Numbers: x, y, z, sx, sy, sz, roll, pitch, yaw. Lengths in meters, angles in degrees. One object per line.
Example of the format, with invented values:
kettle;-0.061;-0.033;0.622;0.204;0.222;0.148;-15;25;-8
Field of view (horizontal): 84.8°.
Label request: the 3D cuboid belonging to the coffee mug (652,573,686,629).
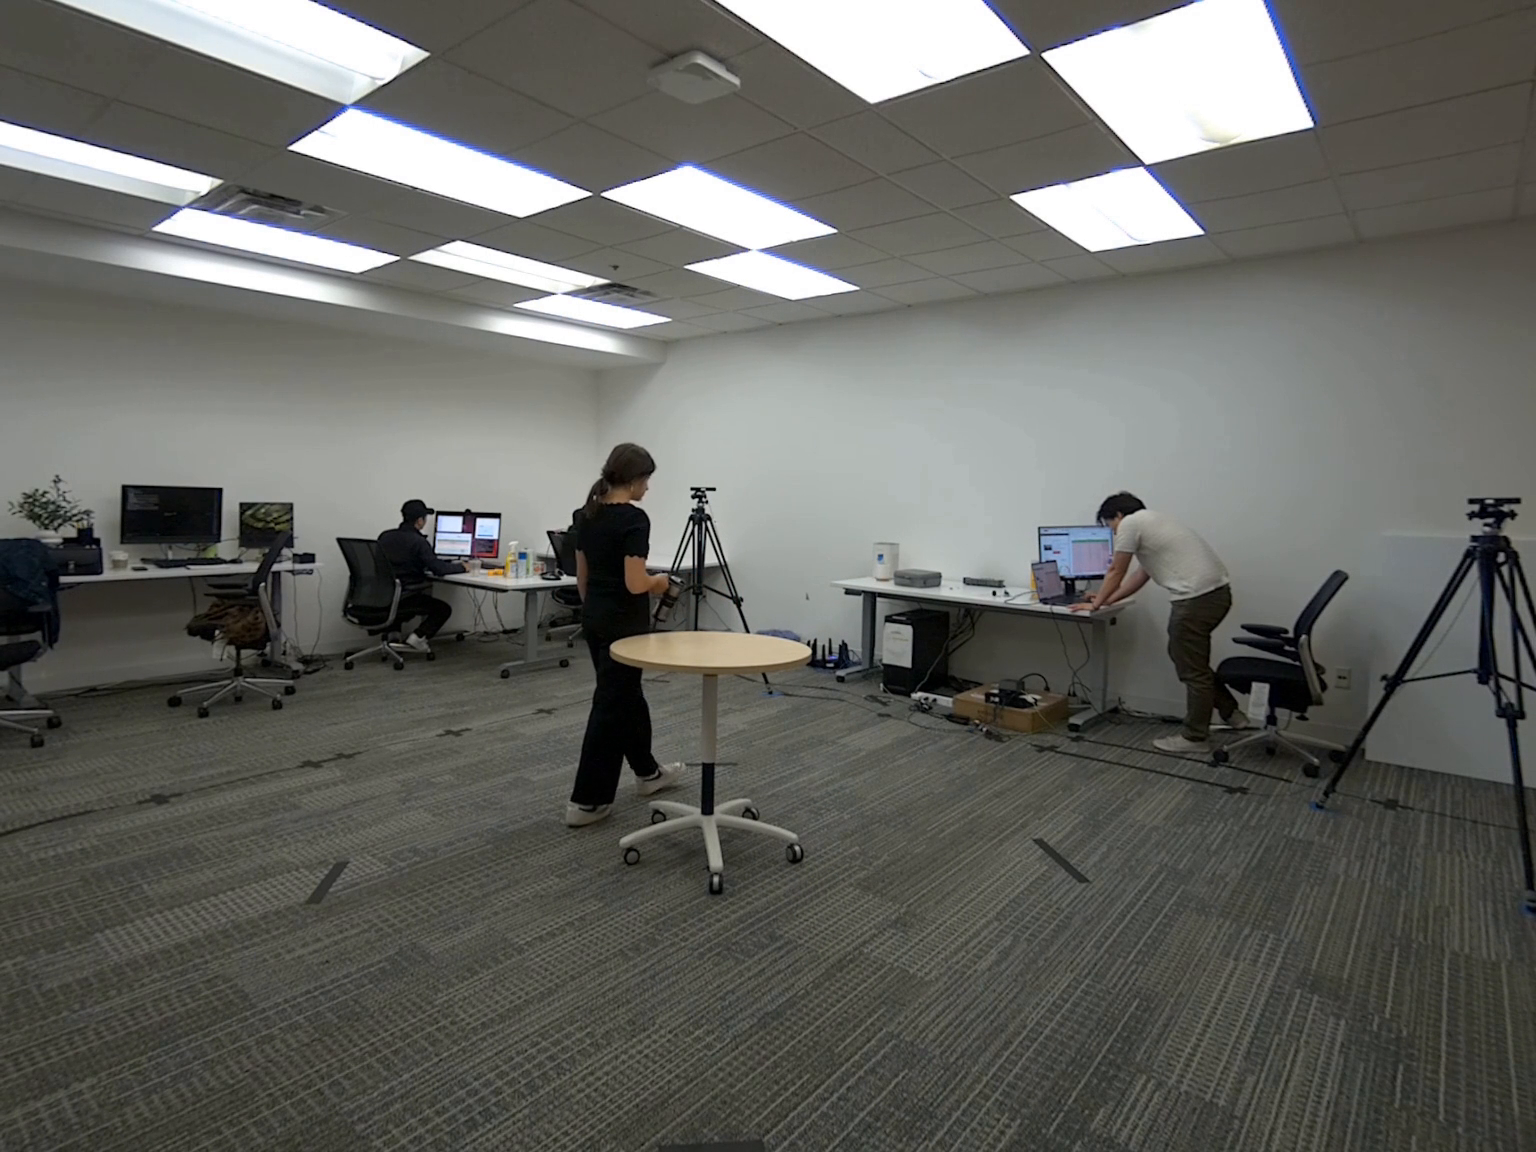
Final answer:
coffee mug;-0.475;0.092;3.768;0.127;0.202;0.085;35;16;31
